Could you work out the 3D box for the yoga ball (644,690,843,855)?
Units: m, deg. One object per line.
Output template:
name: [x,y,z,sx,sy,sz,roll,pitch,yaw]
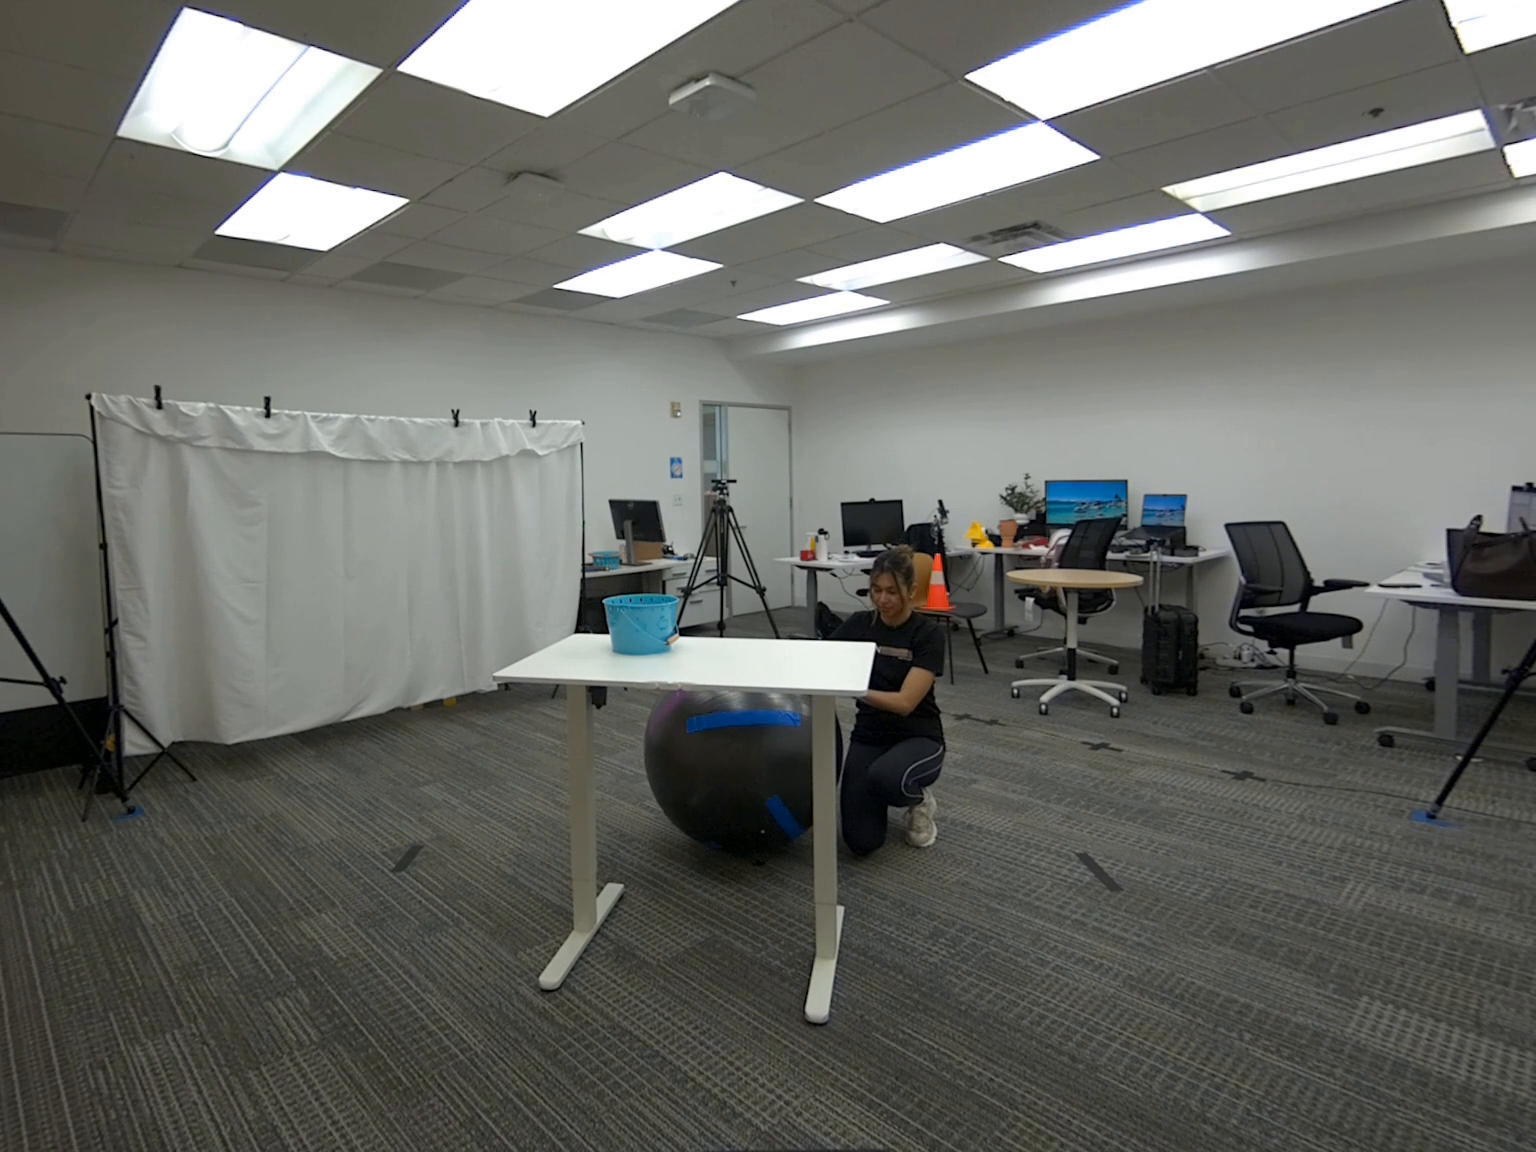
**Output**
yoga ball: [-0.091,0.668,3.274,0.757,0.755,0.762,-1,5,-2]
